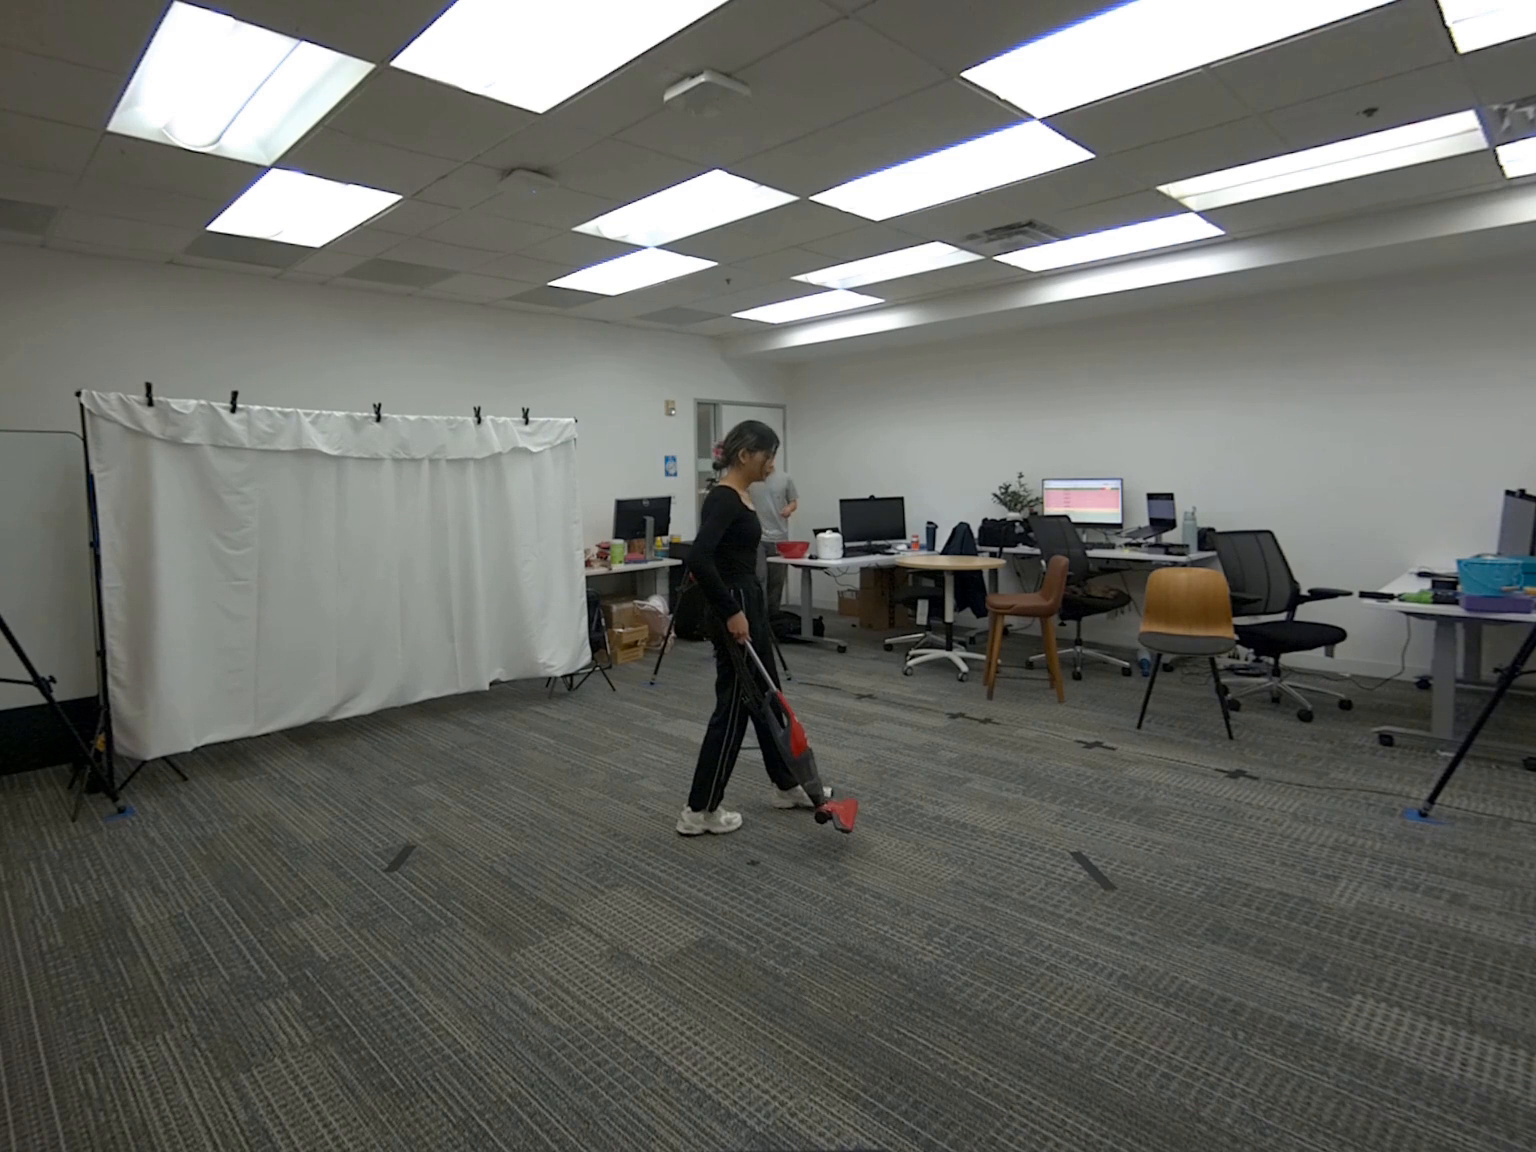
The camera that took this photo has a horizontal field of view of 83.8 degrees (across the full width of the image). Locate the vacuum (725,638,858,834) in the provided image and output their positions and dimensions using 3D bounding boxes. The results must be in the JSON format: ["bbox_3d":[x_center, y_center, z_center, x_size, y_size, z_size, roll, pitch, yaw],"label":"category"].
[{"bbox_3d":[0.007,0.455,3.219,0.145,1.050,0.251,-30,-1,17],"label":"vacuum"}]
